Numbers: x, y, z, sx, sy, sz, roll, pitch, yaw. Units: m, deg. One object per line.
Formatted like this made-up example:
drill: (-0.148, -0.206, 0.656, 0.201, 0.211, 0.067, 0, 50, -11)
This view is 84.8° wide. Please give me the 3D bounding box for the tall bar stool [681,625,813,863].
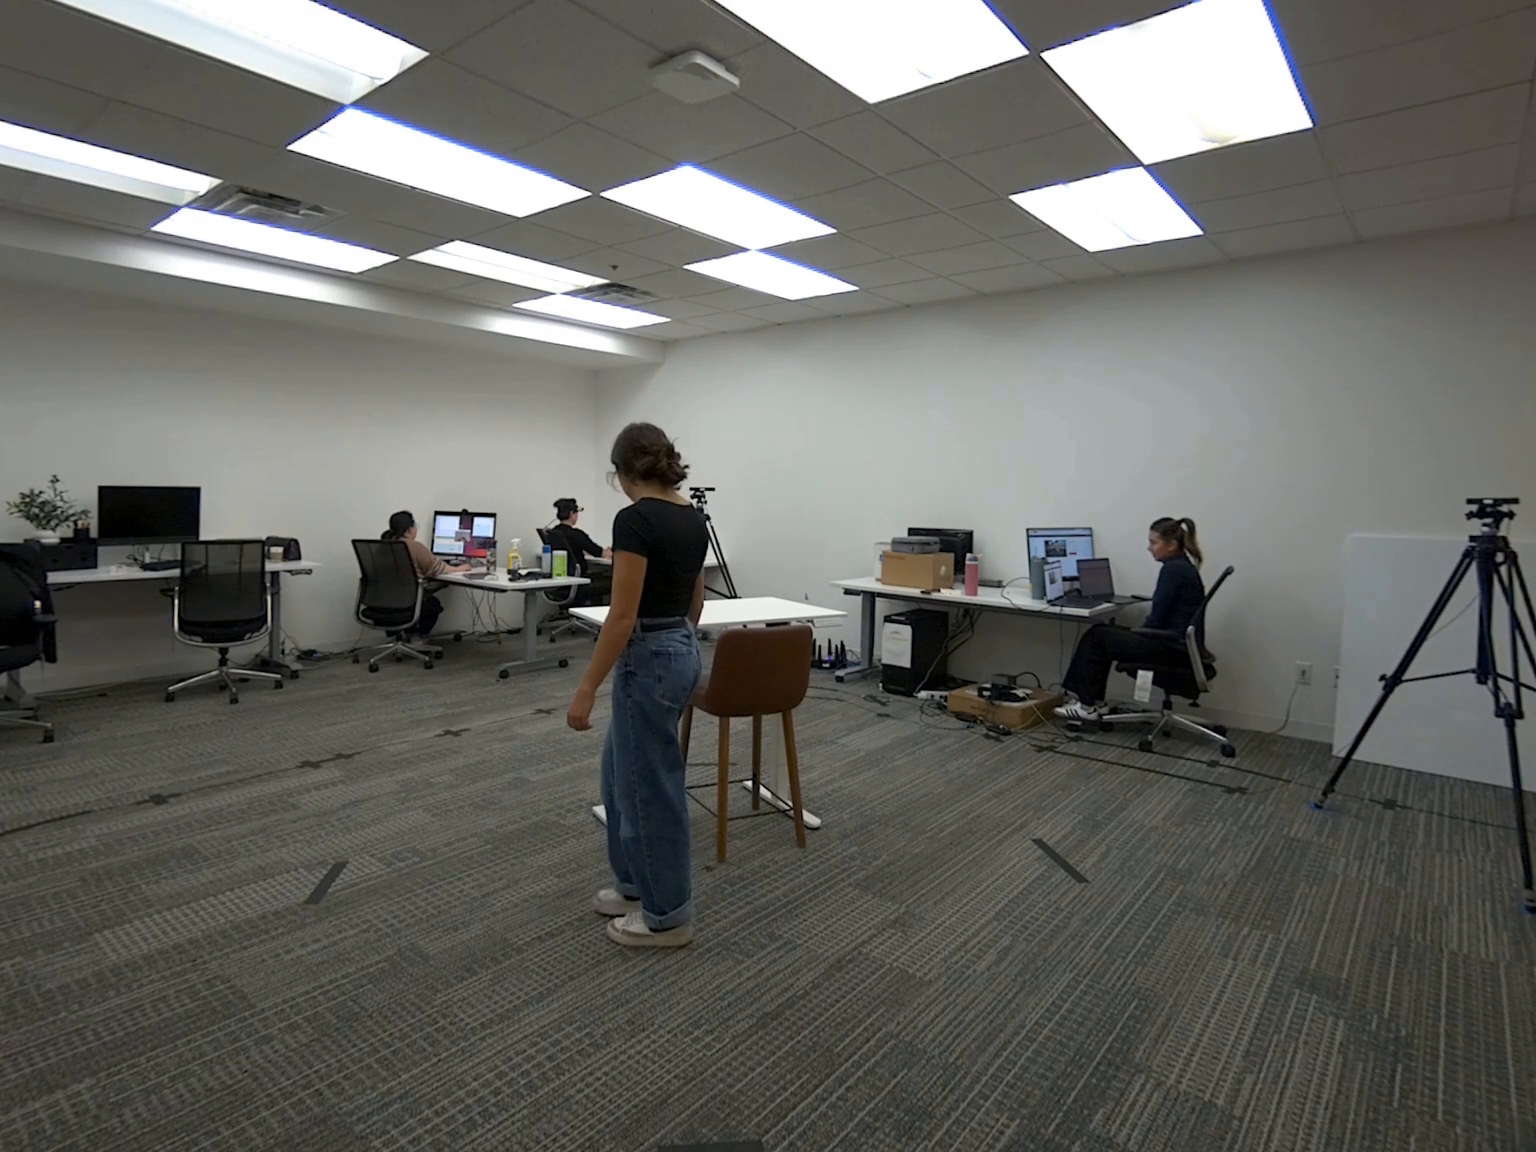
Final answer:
tall bar stool: (-0.112, 0.610, 3.413, 0.445, 0.886, 0.481, 0, 5, -26)
